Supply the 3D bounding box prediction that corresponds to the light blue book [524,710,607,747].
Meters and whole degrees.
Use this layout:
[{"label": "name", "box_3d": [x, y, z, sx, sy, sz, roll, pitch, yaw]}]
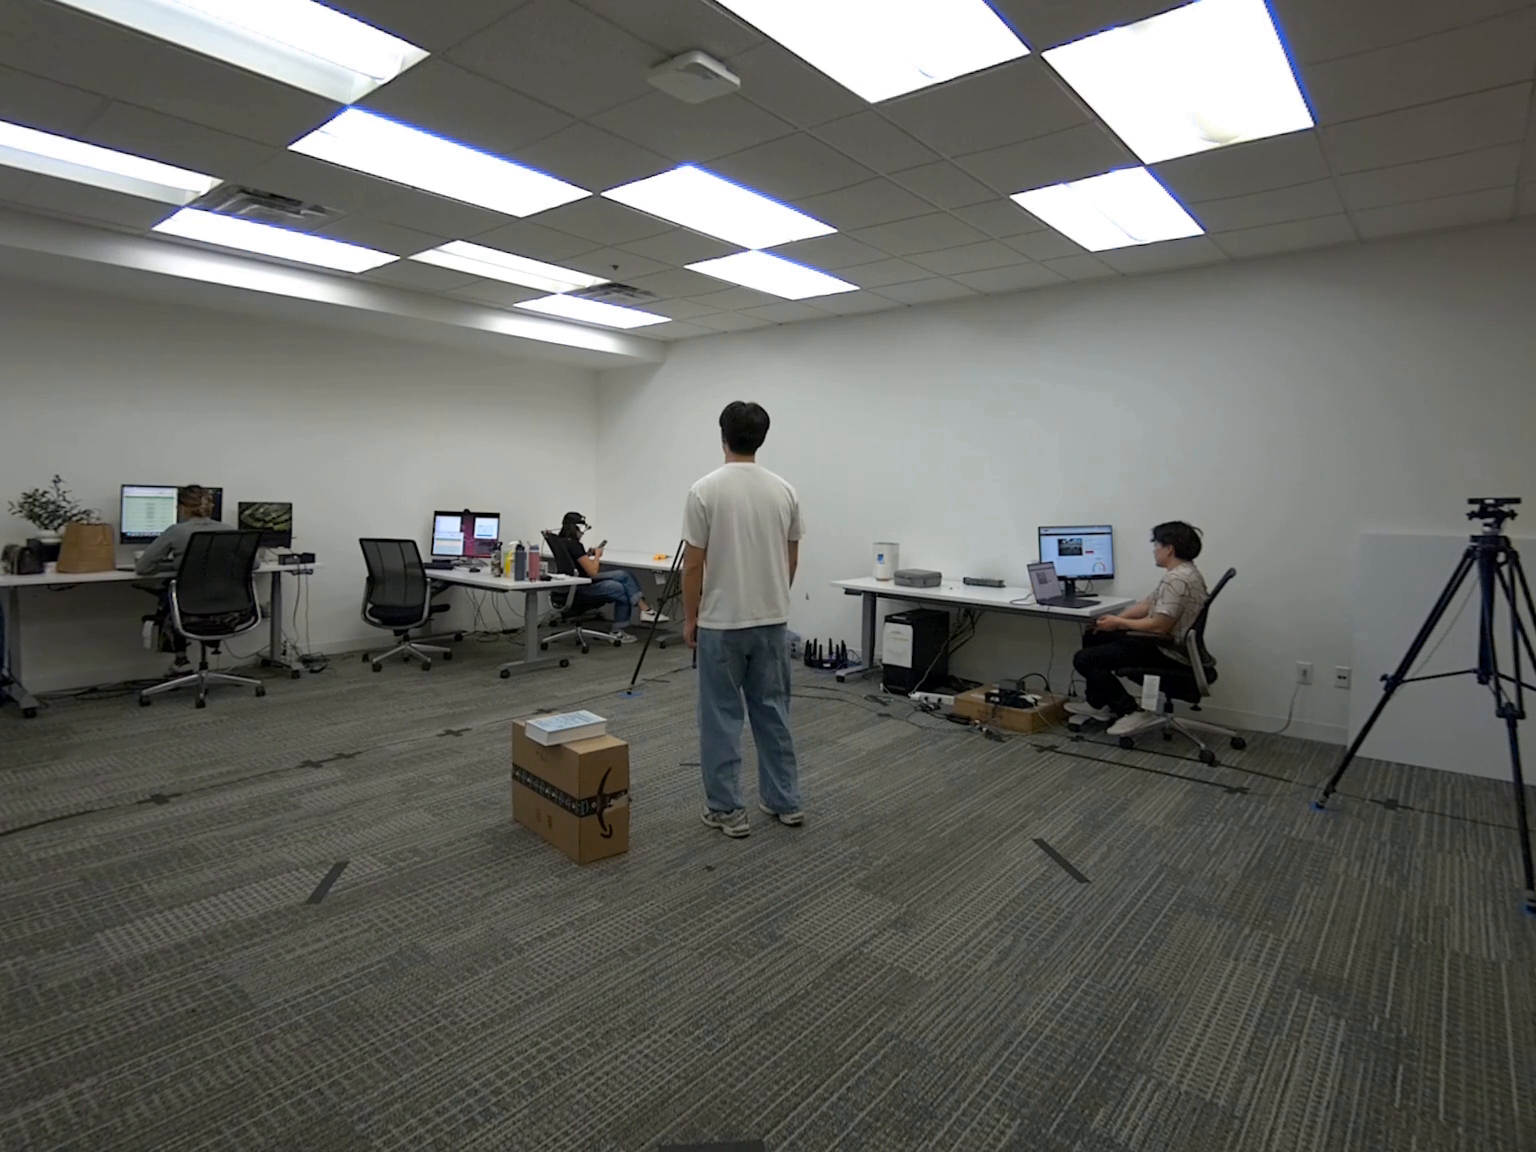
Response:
[{"label": "light blue book", "box_3d": [-0.813, 0.592, 3.331, 0.253, 0.059, 0.198, -5, 8, -40]}]
